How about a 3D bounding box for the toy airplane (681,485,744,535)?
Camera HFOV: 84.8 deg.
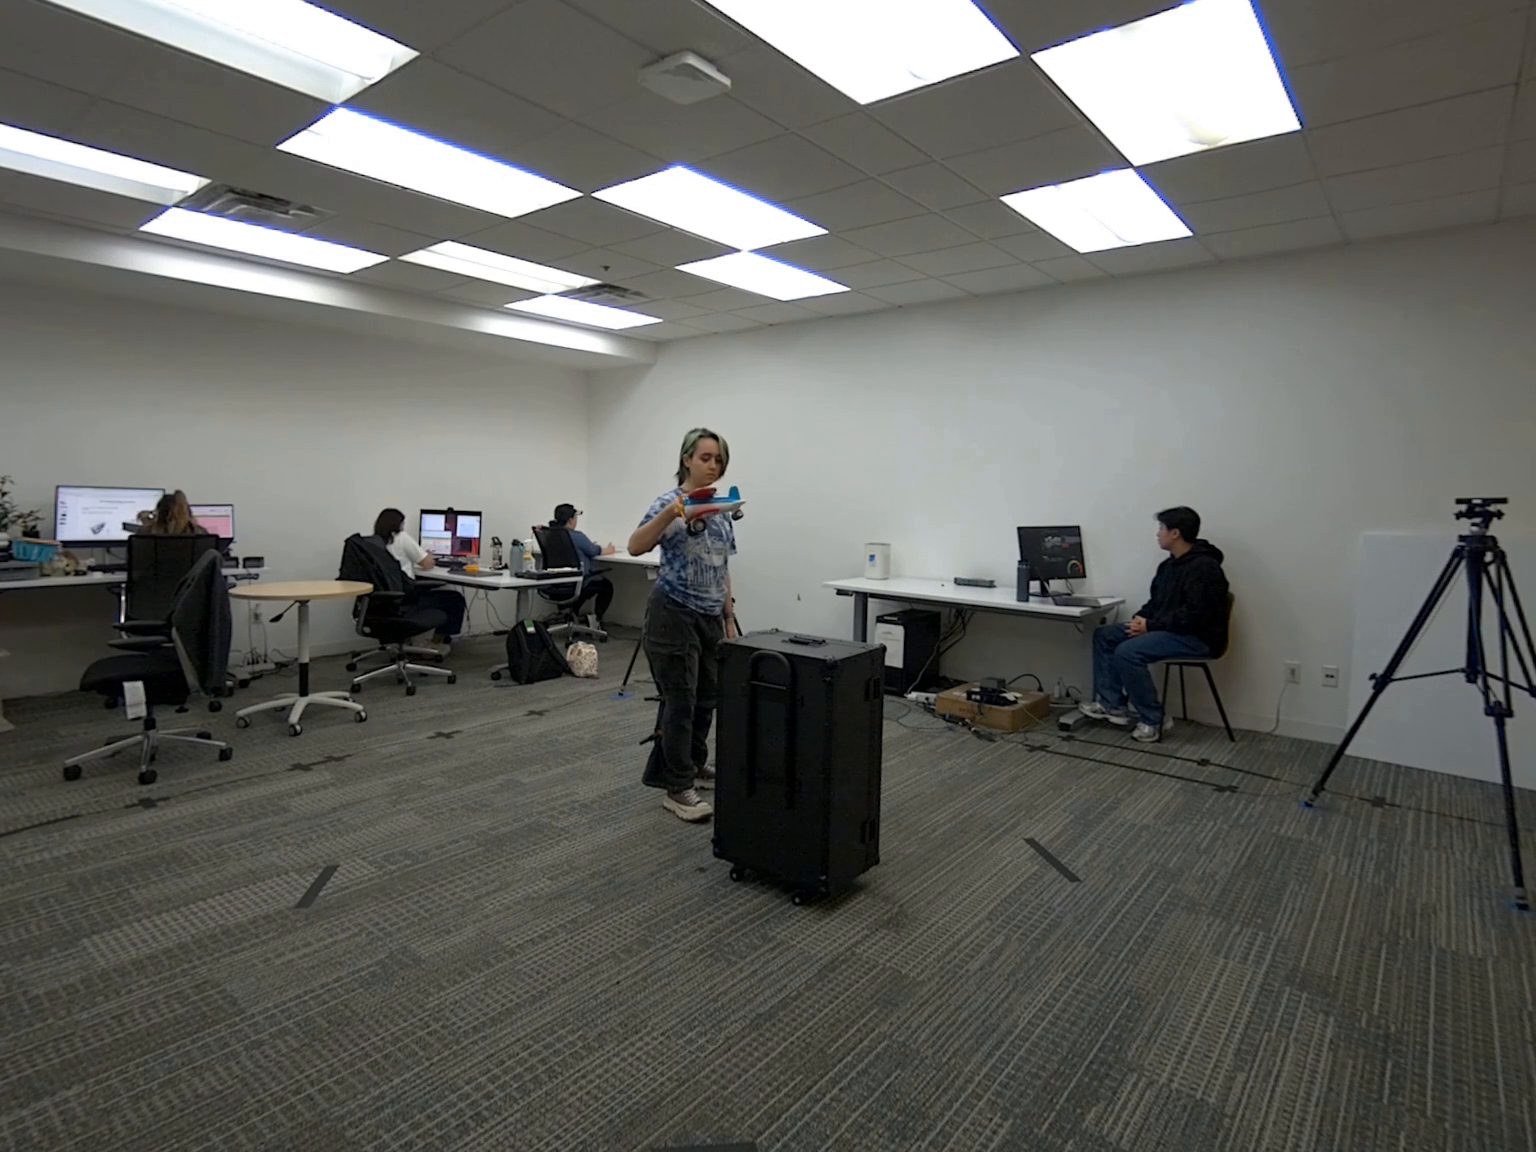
[{"bbox_3d":[-0.237,-0.256,3.253,0.255,0.157,0.254,-24,-4,42],"label":"toy airplane"}]
